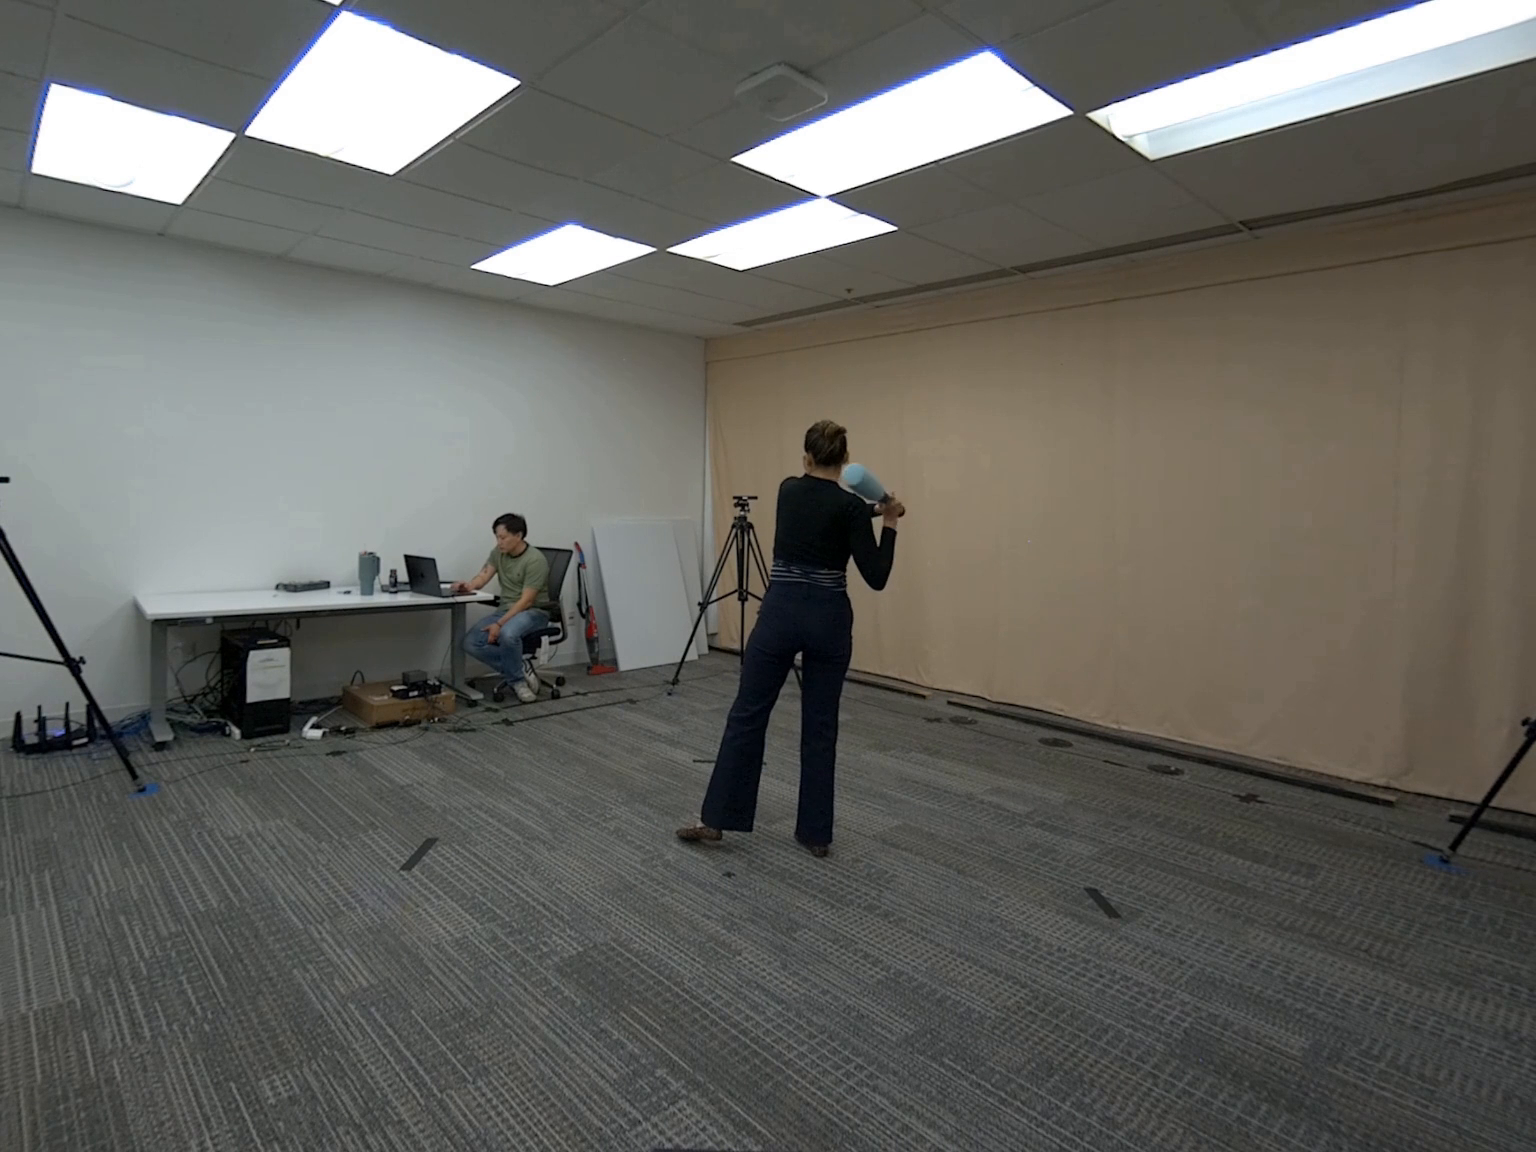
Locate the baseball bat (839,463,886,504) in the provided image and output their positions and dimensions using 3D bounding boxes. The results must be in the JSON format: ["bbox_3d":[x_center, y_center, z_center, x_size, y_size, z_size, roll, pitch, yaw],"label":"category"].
[{"bbox_3d":[0.422,-0.292,3.113,0.091,0.089,0.529,4,-9,25],"label":"baseball bat"}]
